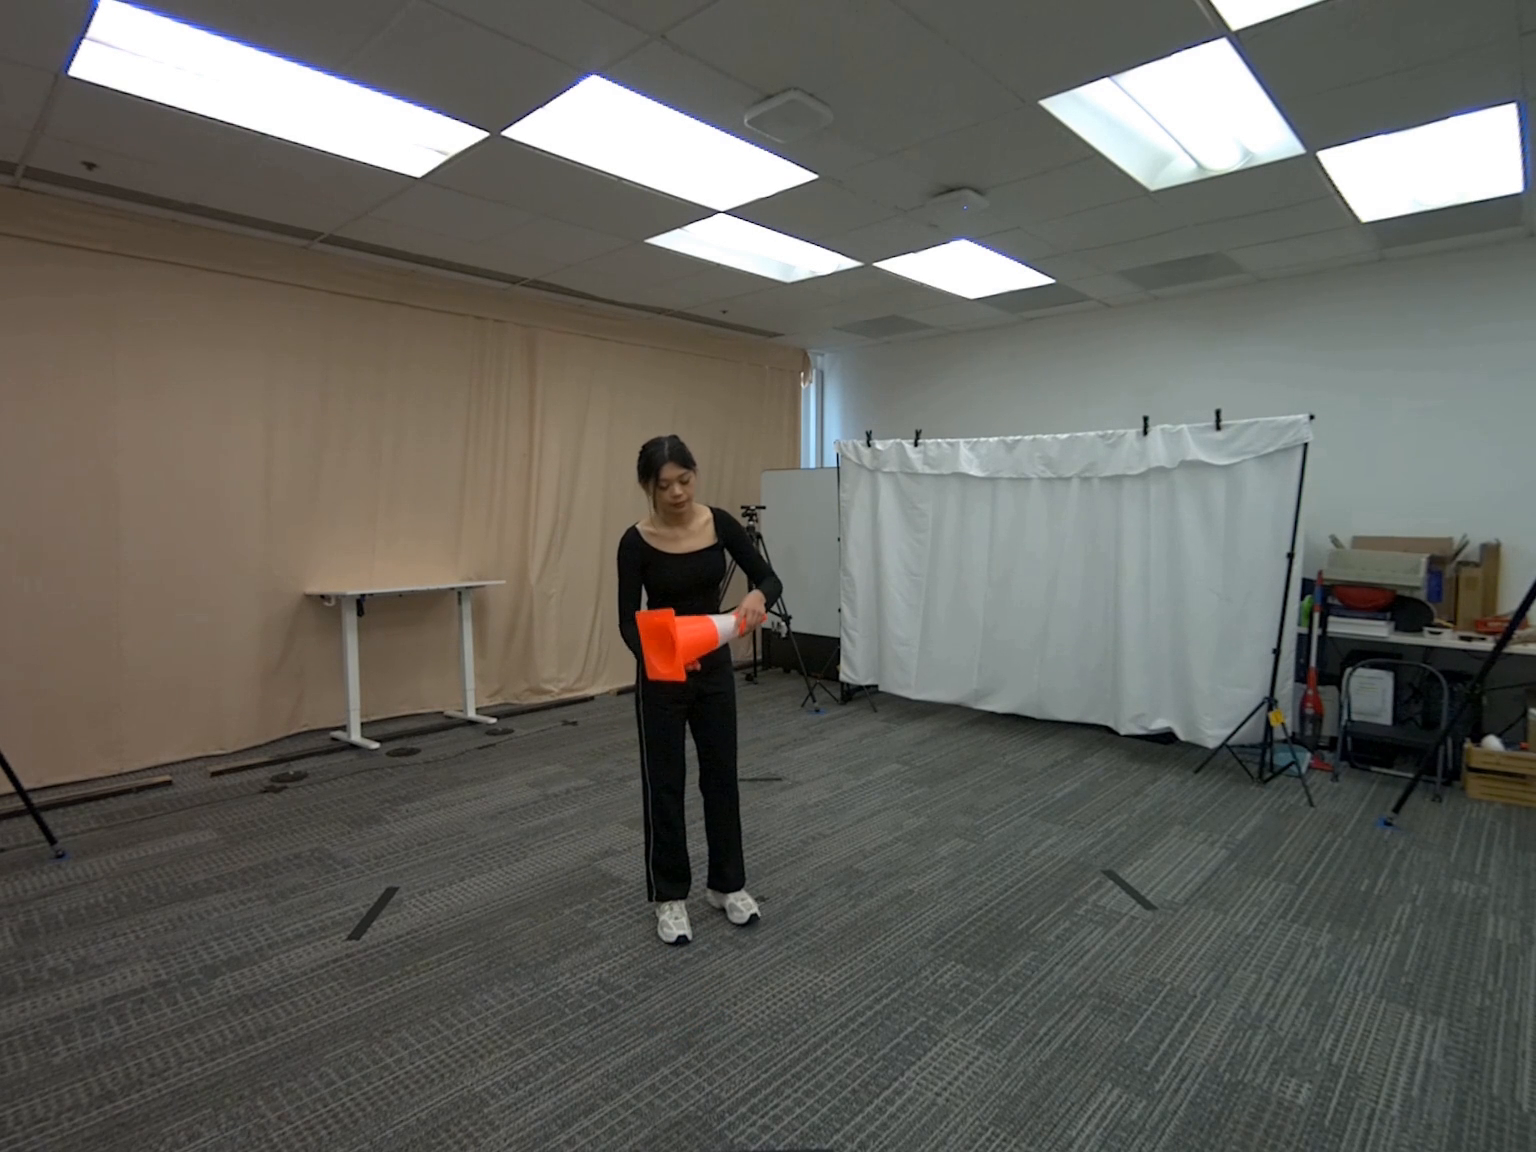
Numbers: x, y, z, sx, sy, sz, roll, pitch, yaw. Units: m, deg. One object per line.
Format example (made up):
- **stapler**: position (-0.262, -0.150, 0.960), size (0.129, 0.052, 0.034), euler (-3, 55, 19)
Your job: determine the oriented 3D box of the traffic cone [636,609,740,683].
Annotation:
- **traffic cone**: position (-0.157, 0.166, 2.459), size (0.374, 0.205, 0.209), euler (-14, 3, -37)
